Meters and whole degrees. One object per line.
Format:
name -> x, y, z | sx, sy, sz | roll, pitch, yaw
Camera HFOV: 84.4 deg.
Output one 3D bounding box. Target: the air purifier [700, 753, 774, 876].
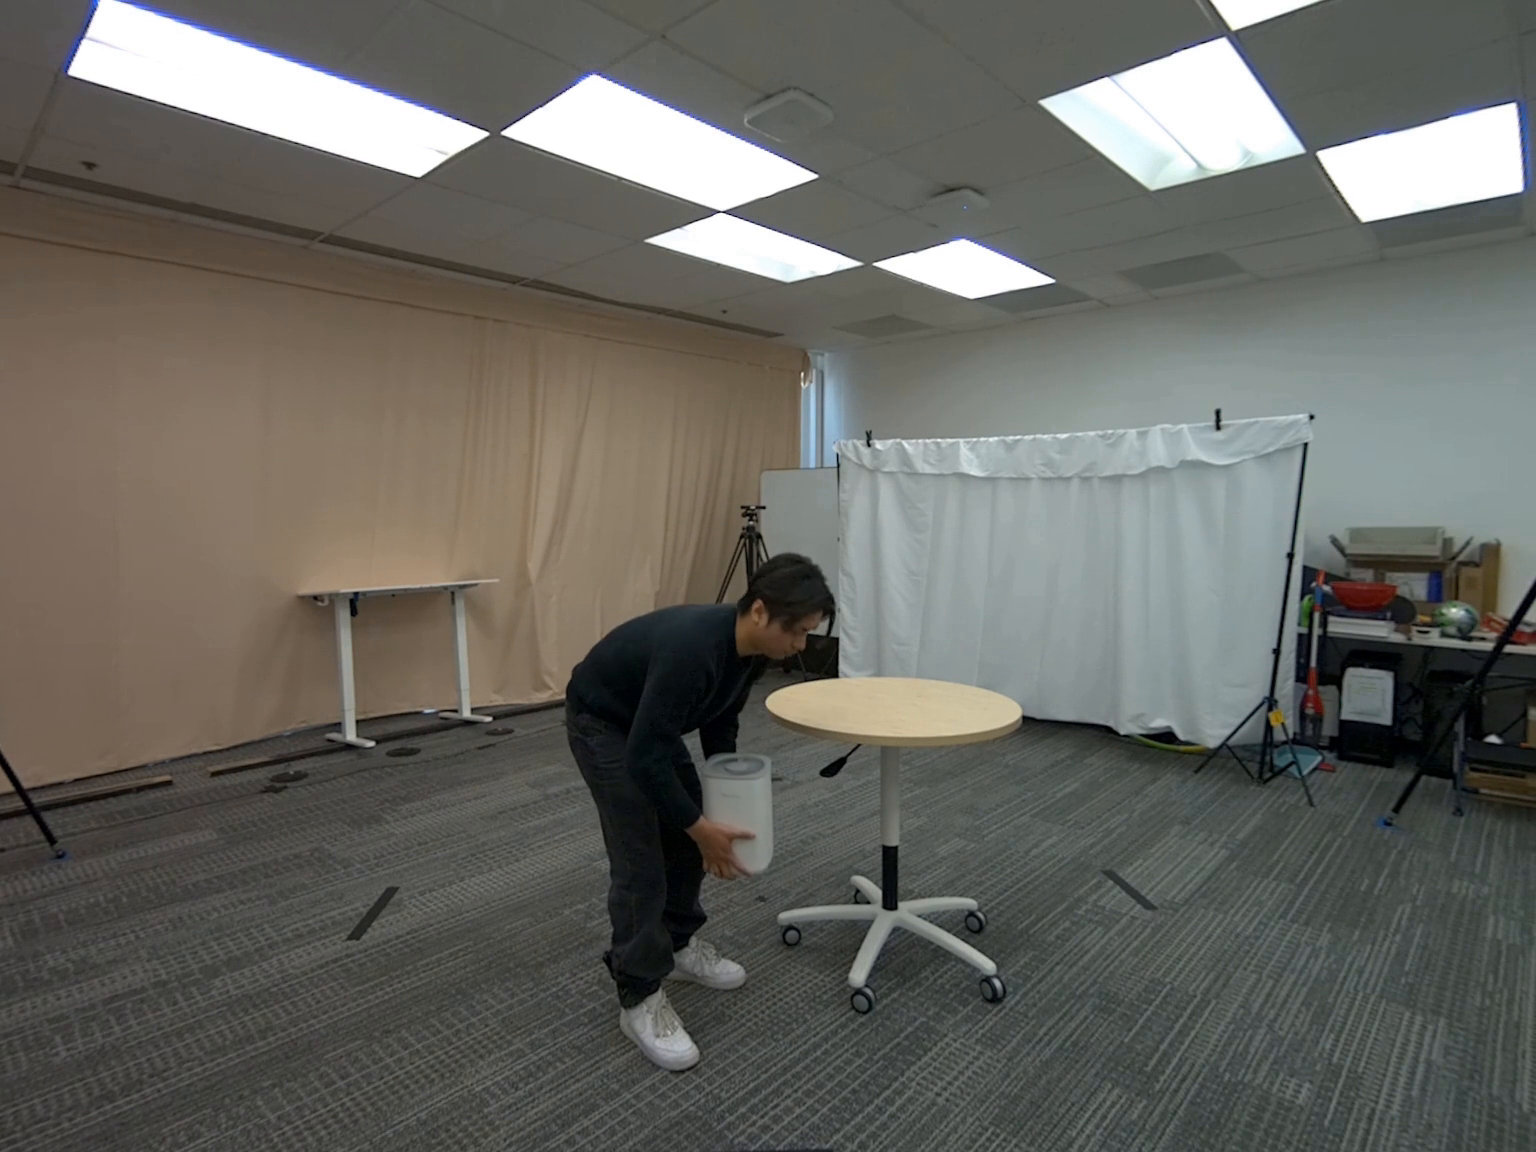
air purifier -> -0.075, 0.617, 2.177 | 0.173, 0.264, 0.170 | -3, 5, 11
